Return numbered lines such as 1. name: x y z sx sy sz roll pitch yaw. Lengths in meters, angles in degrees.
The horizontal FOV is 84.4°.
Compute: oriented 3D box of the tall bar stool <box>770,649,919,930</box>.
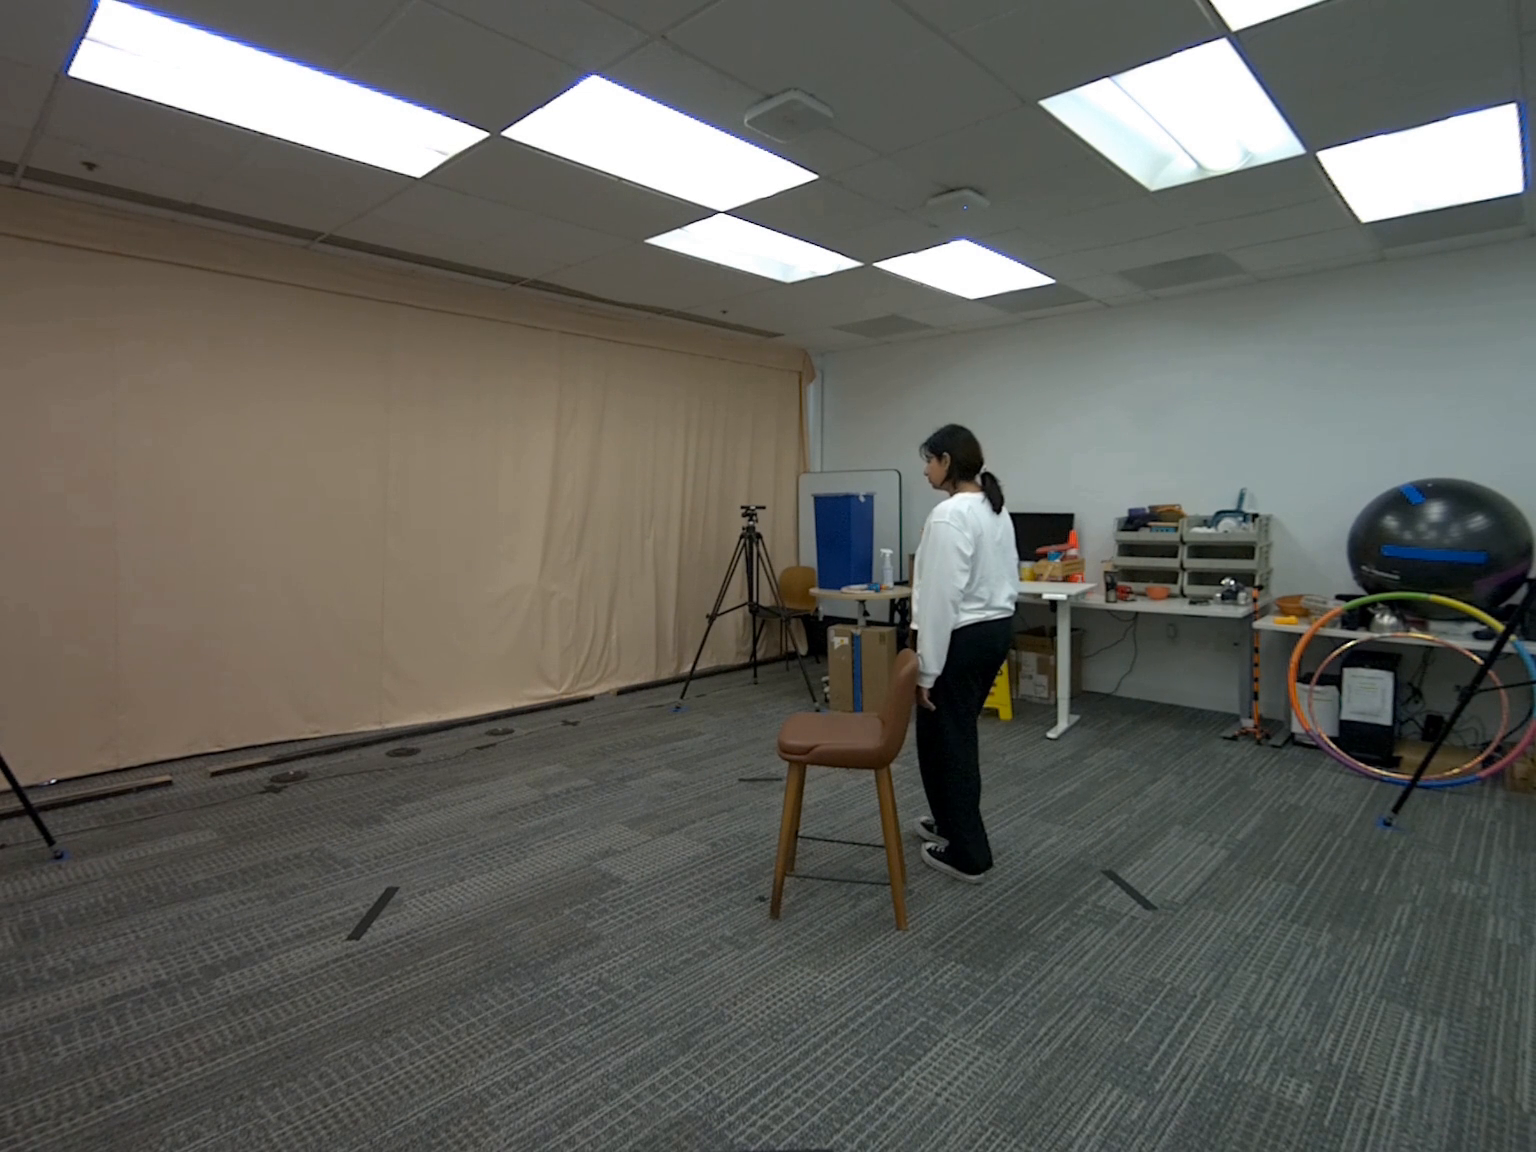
1. tall bar stool: 0.277 0.711 2.960 0.474 0.888 0.451 3 4 12
